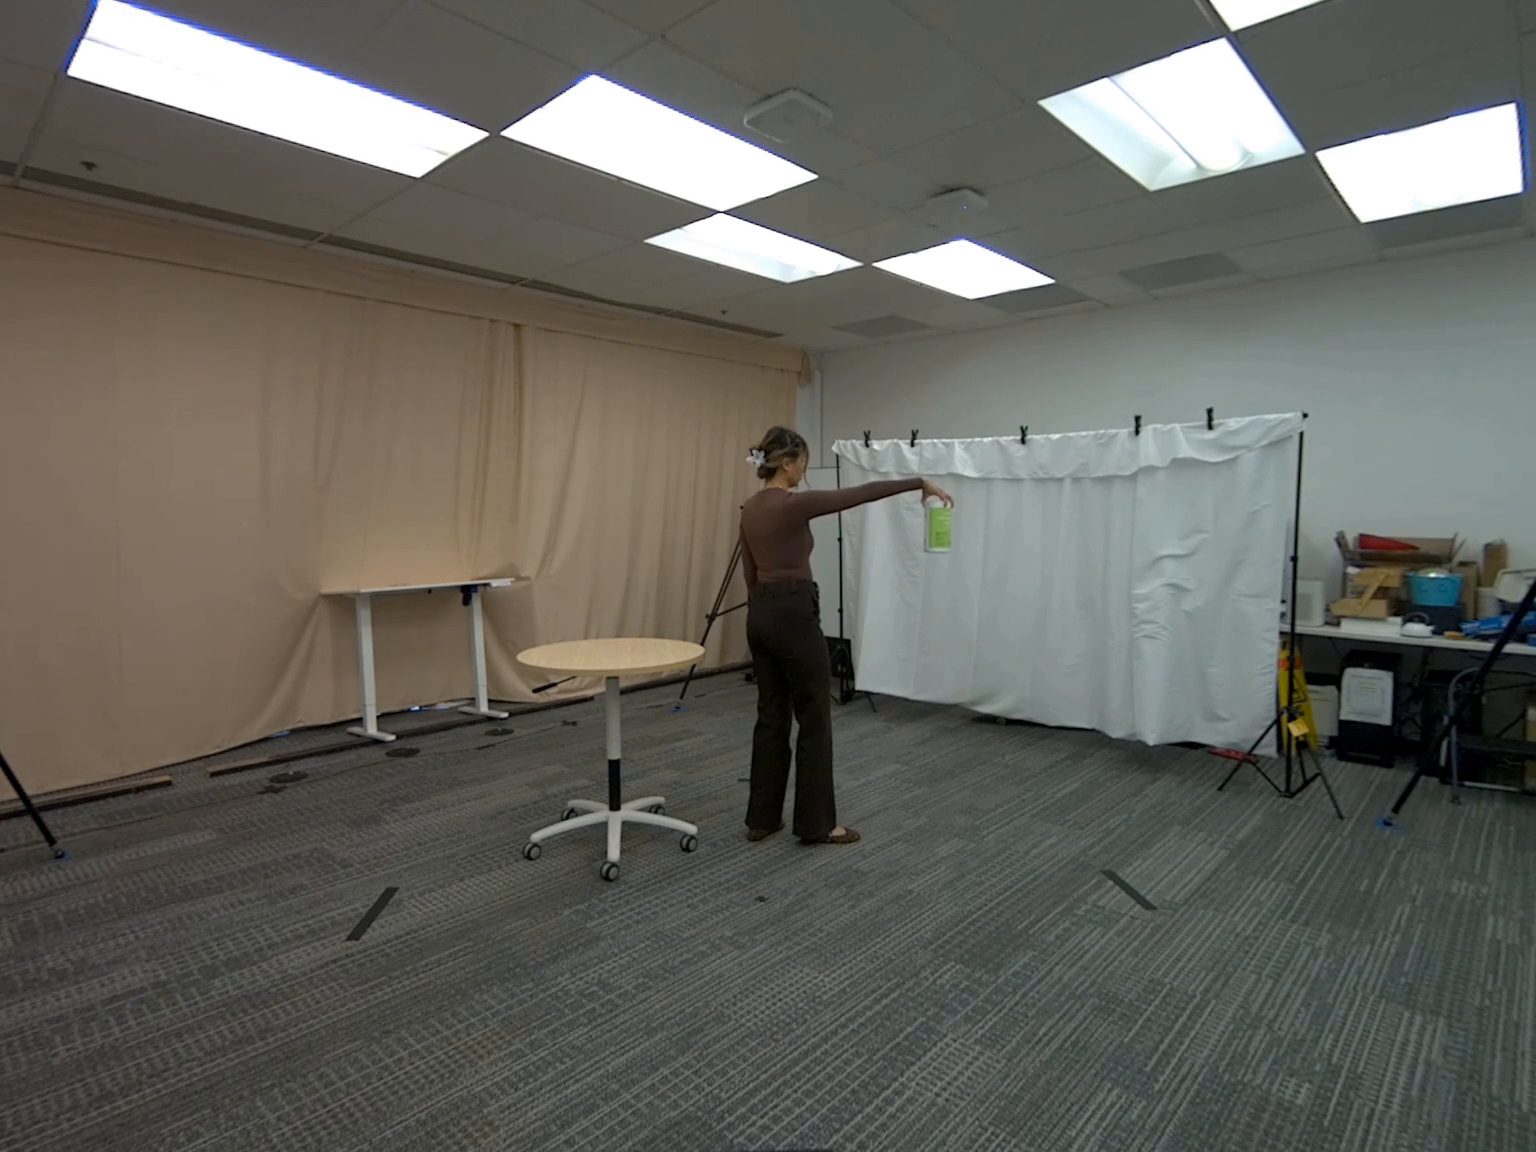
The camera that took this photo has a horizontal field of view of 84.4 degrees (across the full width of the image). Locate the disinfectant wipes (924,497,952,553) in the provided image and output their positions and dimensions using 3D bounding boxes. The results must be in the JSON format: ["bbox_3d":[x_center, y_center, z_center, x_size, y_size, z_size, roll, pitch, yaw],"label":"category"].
[{"bbox_3d":[0.707,-0.207,3.529,0.117,0.217,0.118,1,5,-2],"label":"disinfectant wipes"}]
